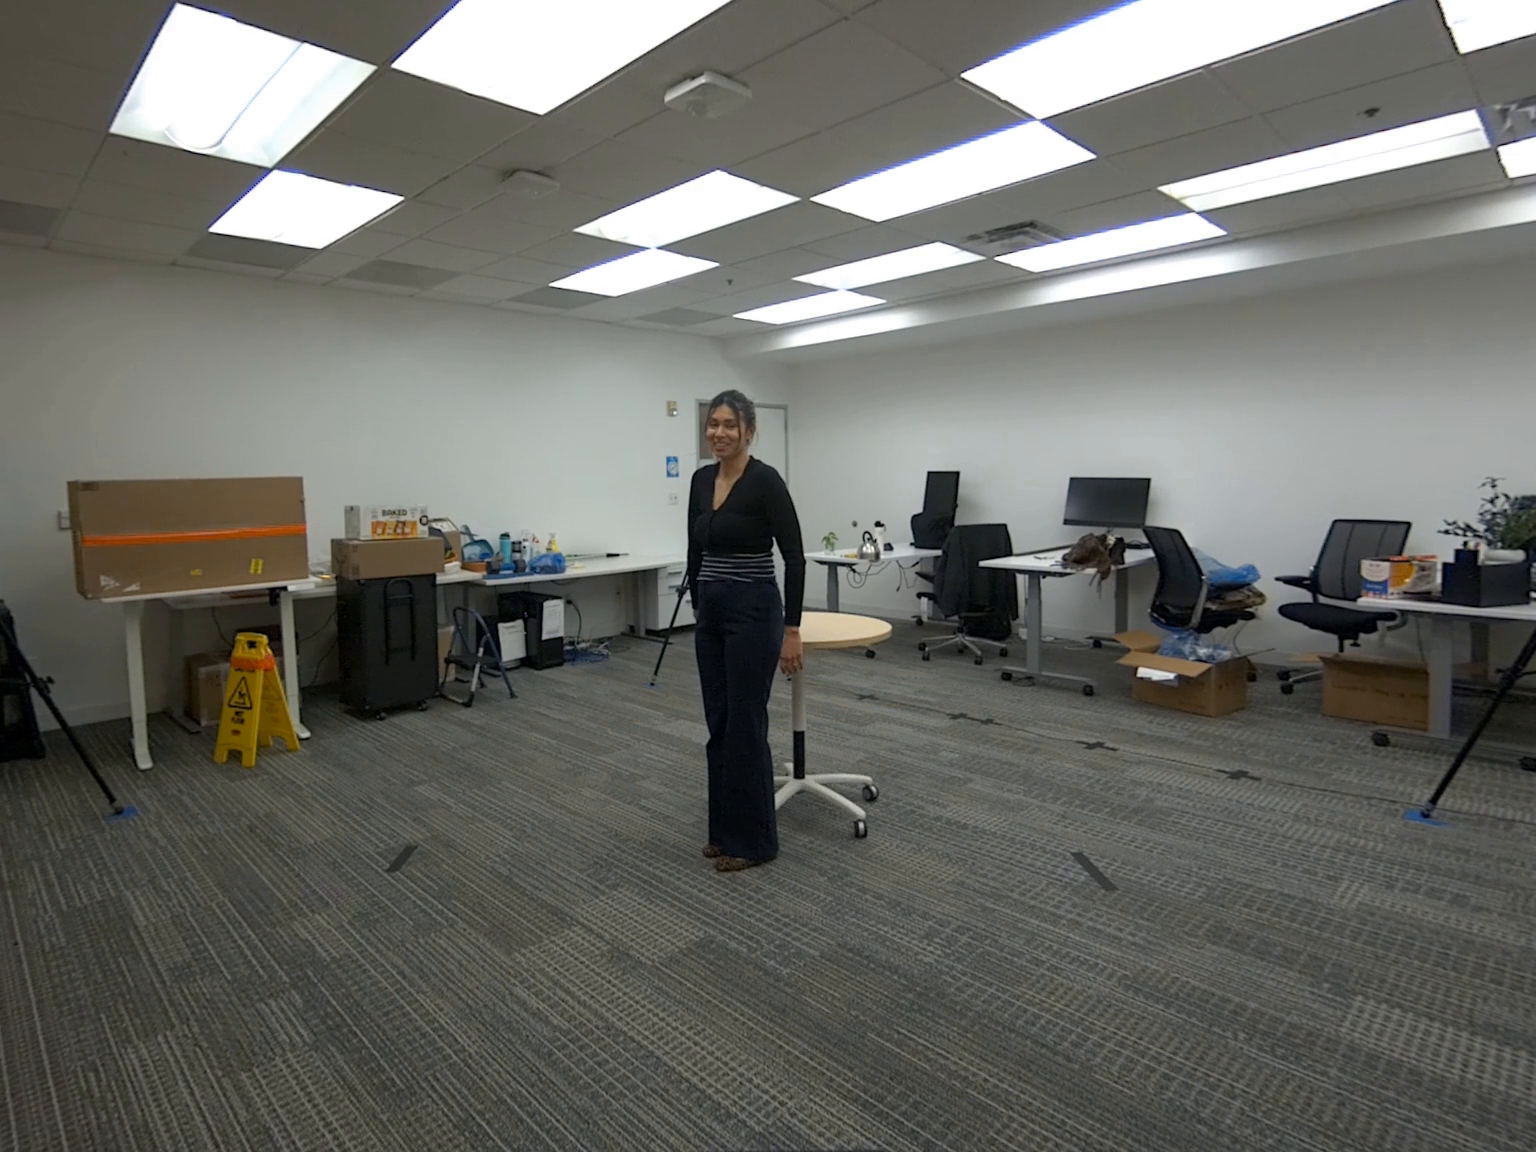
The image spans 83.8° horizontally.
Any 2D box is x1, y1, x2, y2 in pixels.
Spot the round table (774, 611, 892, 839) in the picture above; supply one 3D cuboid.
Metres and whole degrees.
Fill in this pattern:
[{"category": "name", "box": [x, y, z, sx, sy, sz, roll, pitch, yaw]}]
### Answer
[{"category": "round table", "box": [0.130, 0.599, 3.573, 0.763, 0.791, 0.768, -1, 5, -2]}]
